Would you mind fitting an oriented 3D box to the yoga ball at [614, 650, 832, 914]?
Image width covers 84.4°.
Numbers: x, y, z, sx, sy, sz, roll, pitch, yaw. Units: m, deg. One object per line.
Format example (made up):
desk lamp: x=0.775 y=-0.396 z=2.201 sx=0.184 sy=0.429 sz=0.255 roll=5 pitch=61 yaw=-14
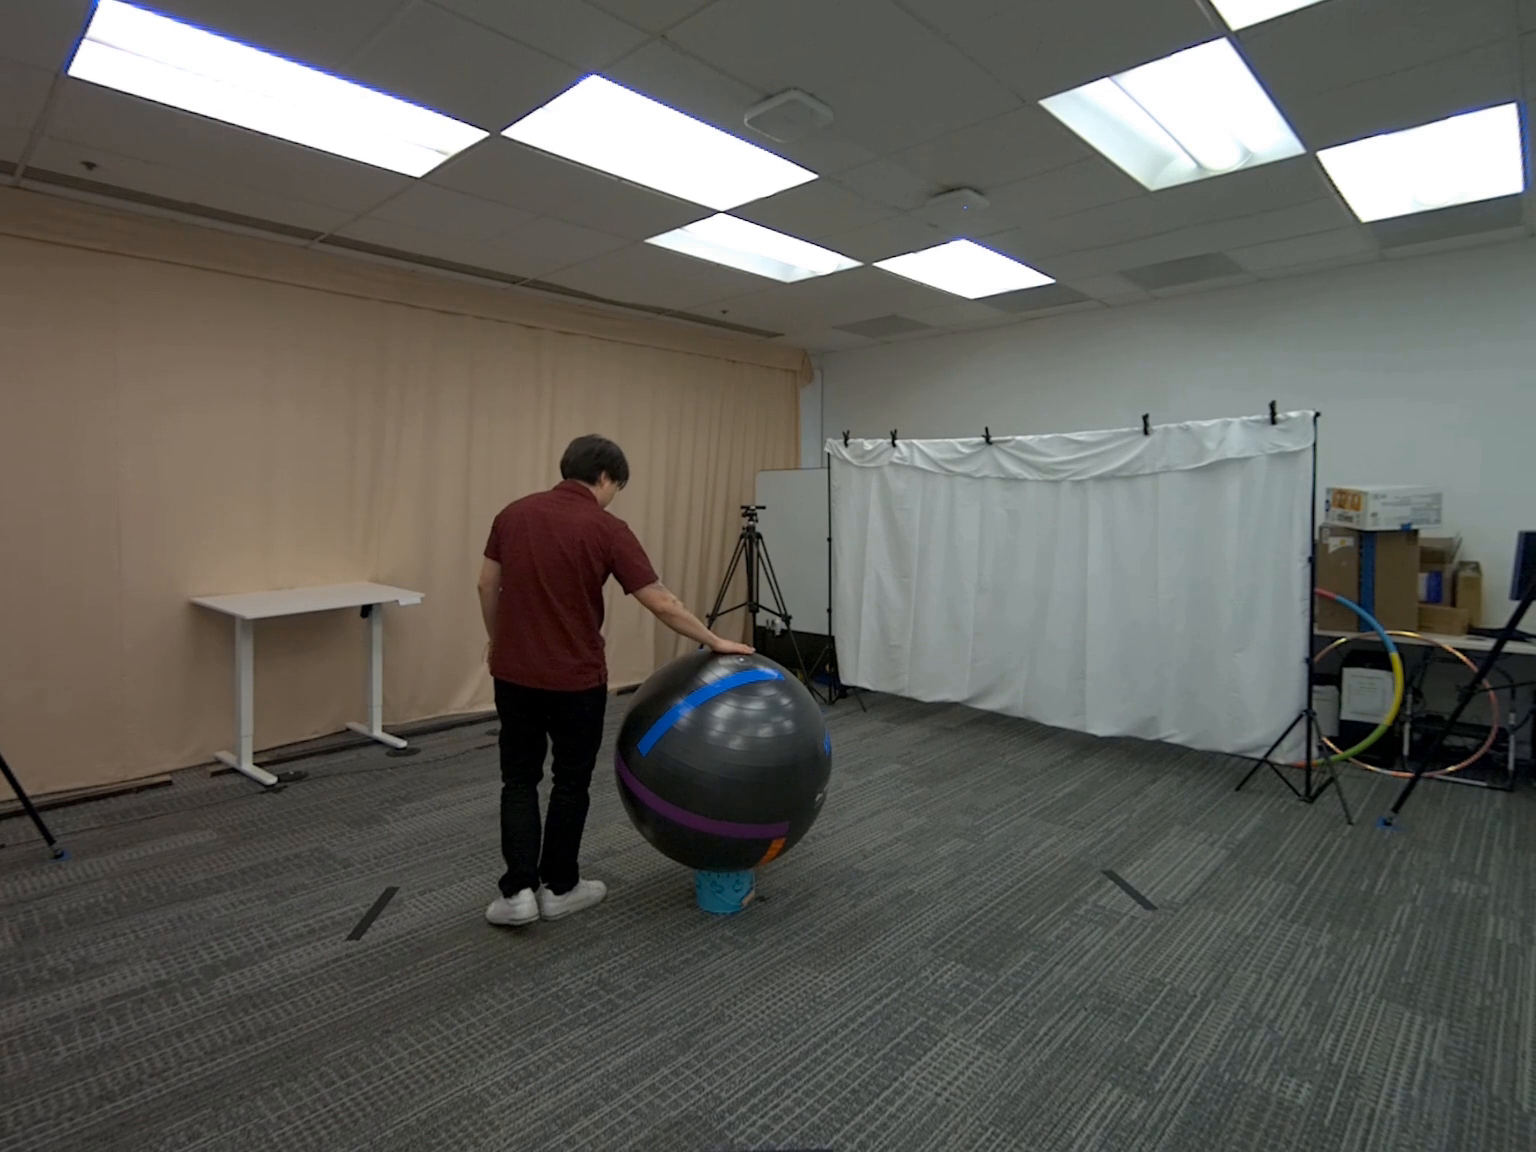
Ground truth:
yoga ball: x=-0.148 y=0.636 z=2.948 sx=0.757 sy=0.756 sz=0.760 roll=0 pitch=4 yaw=-2
